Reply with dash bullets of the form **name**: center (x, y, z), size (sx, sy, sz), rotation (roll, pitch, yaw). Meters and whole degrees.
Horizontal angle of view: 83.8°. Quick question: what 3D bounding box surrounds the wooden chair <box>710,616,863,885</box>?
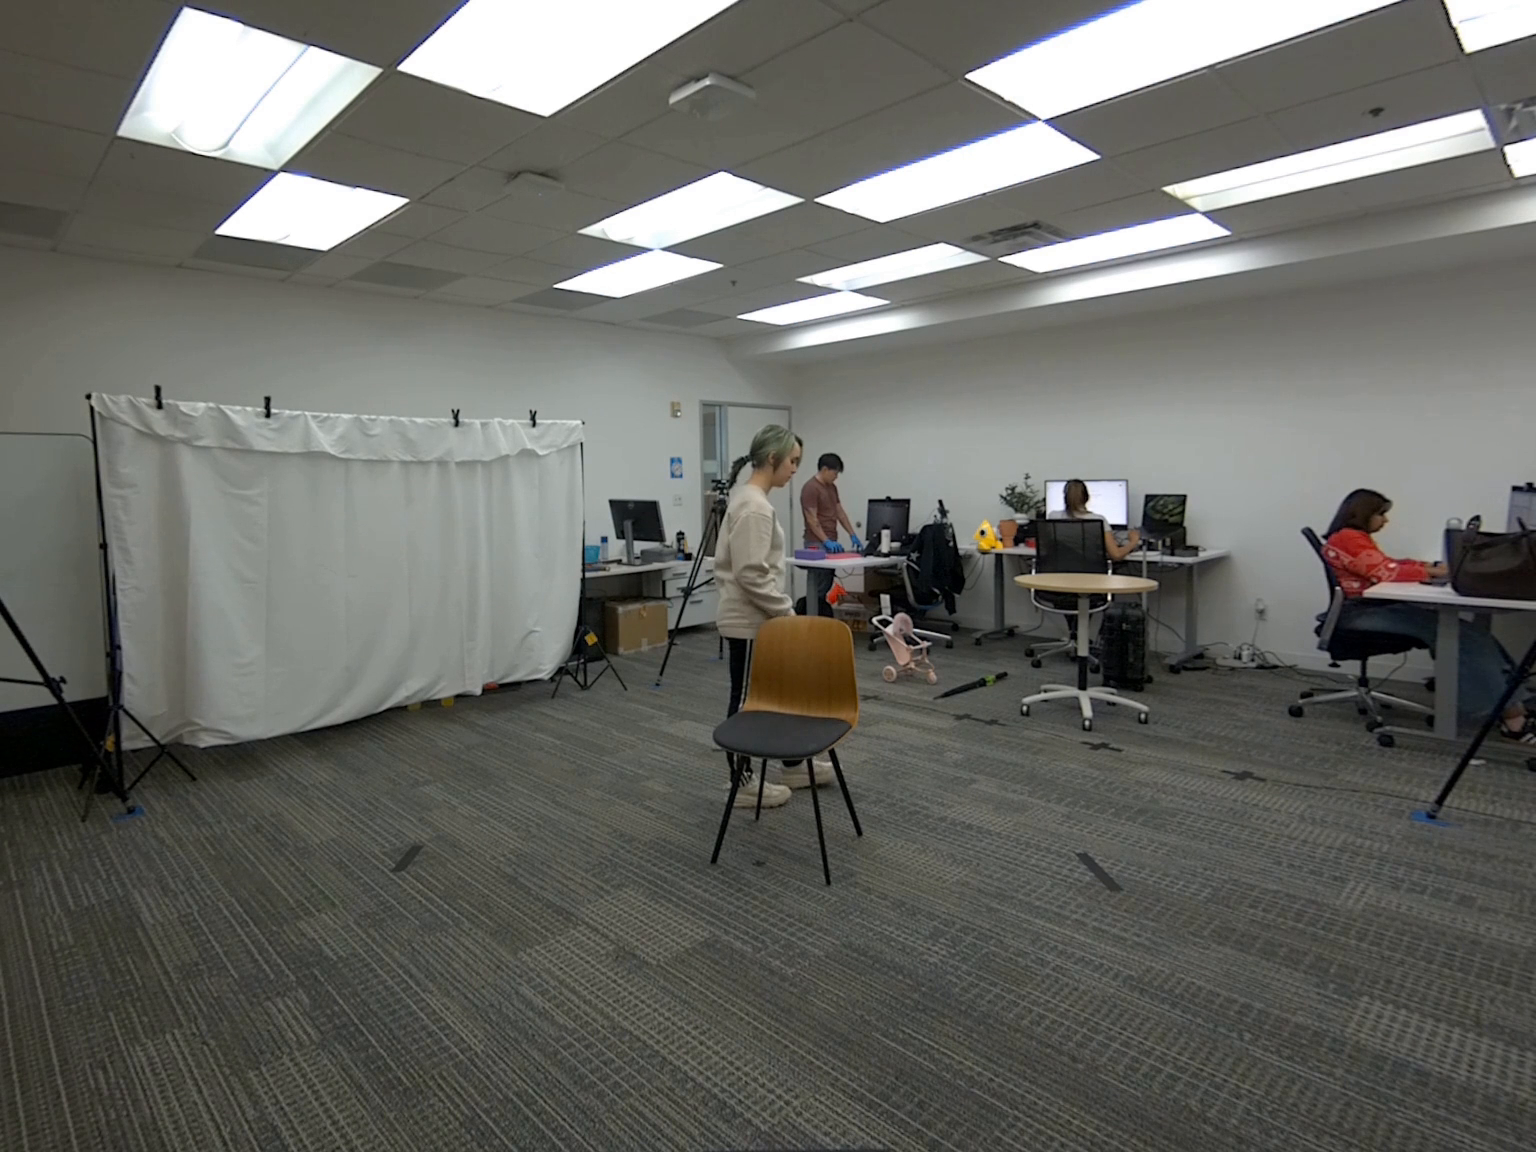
- **wooden chair**: center (0.073, 0.610, 3.183), size (0.489, 0.877, 0.512), rotation (1, 1, 23)
